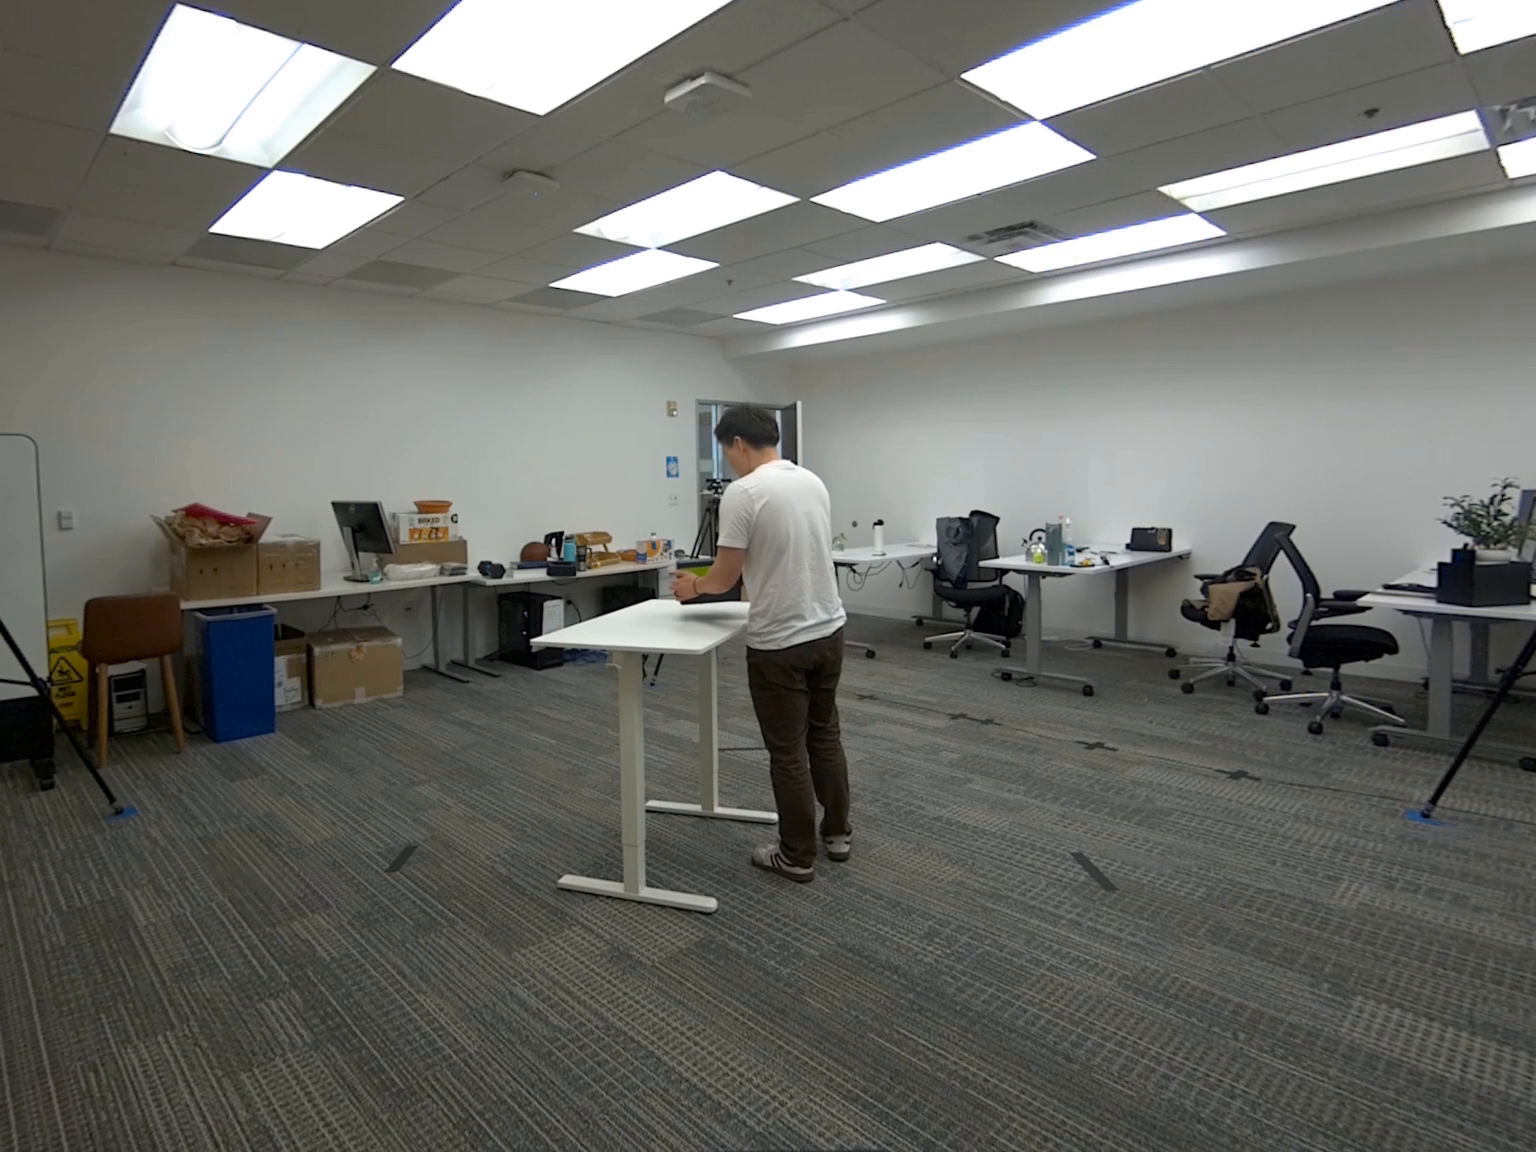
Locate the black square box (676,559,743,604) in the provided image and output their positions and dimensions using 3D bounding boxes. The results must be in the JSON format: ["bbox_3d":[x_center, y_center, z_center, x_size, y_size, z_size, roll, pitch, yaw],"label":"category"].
[{"bbox_3d":[-0.226,0.012,3.233,0.227,0.155,0.218,-4,4,-3],"label":"black square box"}]
